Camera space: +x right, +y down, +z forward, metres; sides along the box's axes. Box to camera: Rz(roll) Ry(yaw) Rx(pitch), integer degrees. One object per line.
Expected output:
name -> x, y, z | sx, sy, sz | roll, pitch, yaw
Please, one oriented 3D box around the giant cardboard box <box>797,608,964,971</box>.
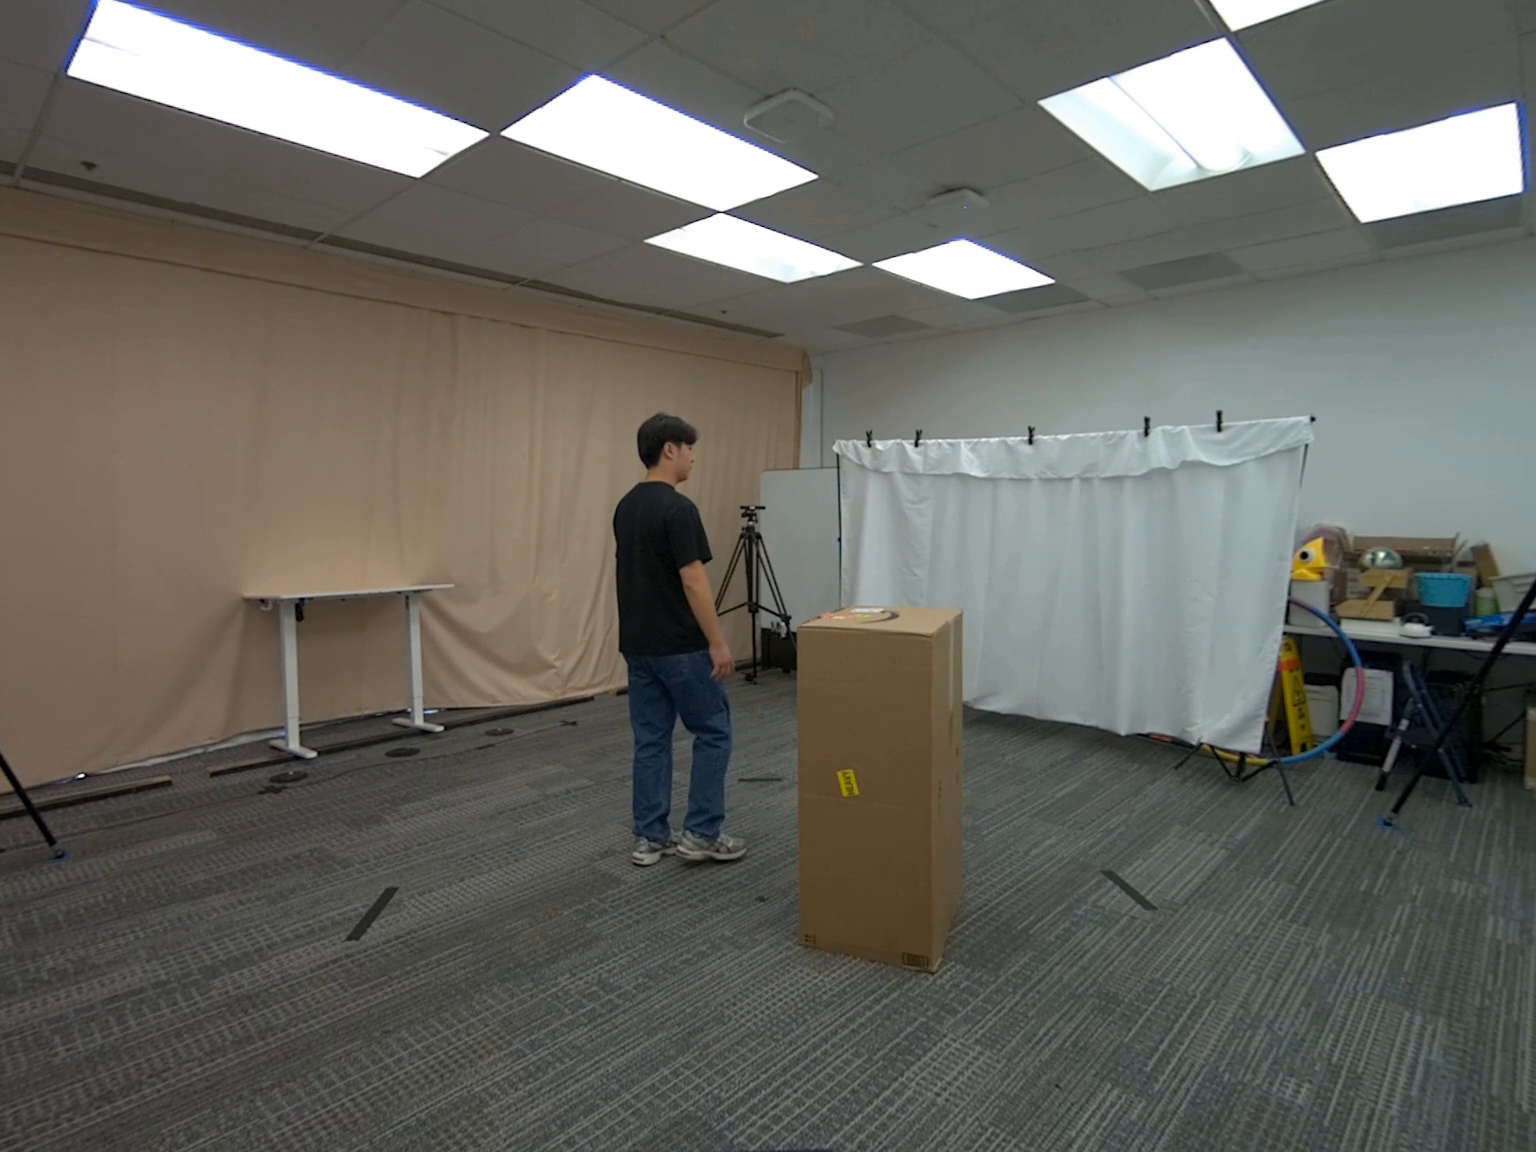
giant cardboard box -> 0.394, 0.644, 2.815 | 0.458, 1.025, 0.570 | 0, 3, 25
